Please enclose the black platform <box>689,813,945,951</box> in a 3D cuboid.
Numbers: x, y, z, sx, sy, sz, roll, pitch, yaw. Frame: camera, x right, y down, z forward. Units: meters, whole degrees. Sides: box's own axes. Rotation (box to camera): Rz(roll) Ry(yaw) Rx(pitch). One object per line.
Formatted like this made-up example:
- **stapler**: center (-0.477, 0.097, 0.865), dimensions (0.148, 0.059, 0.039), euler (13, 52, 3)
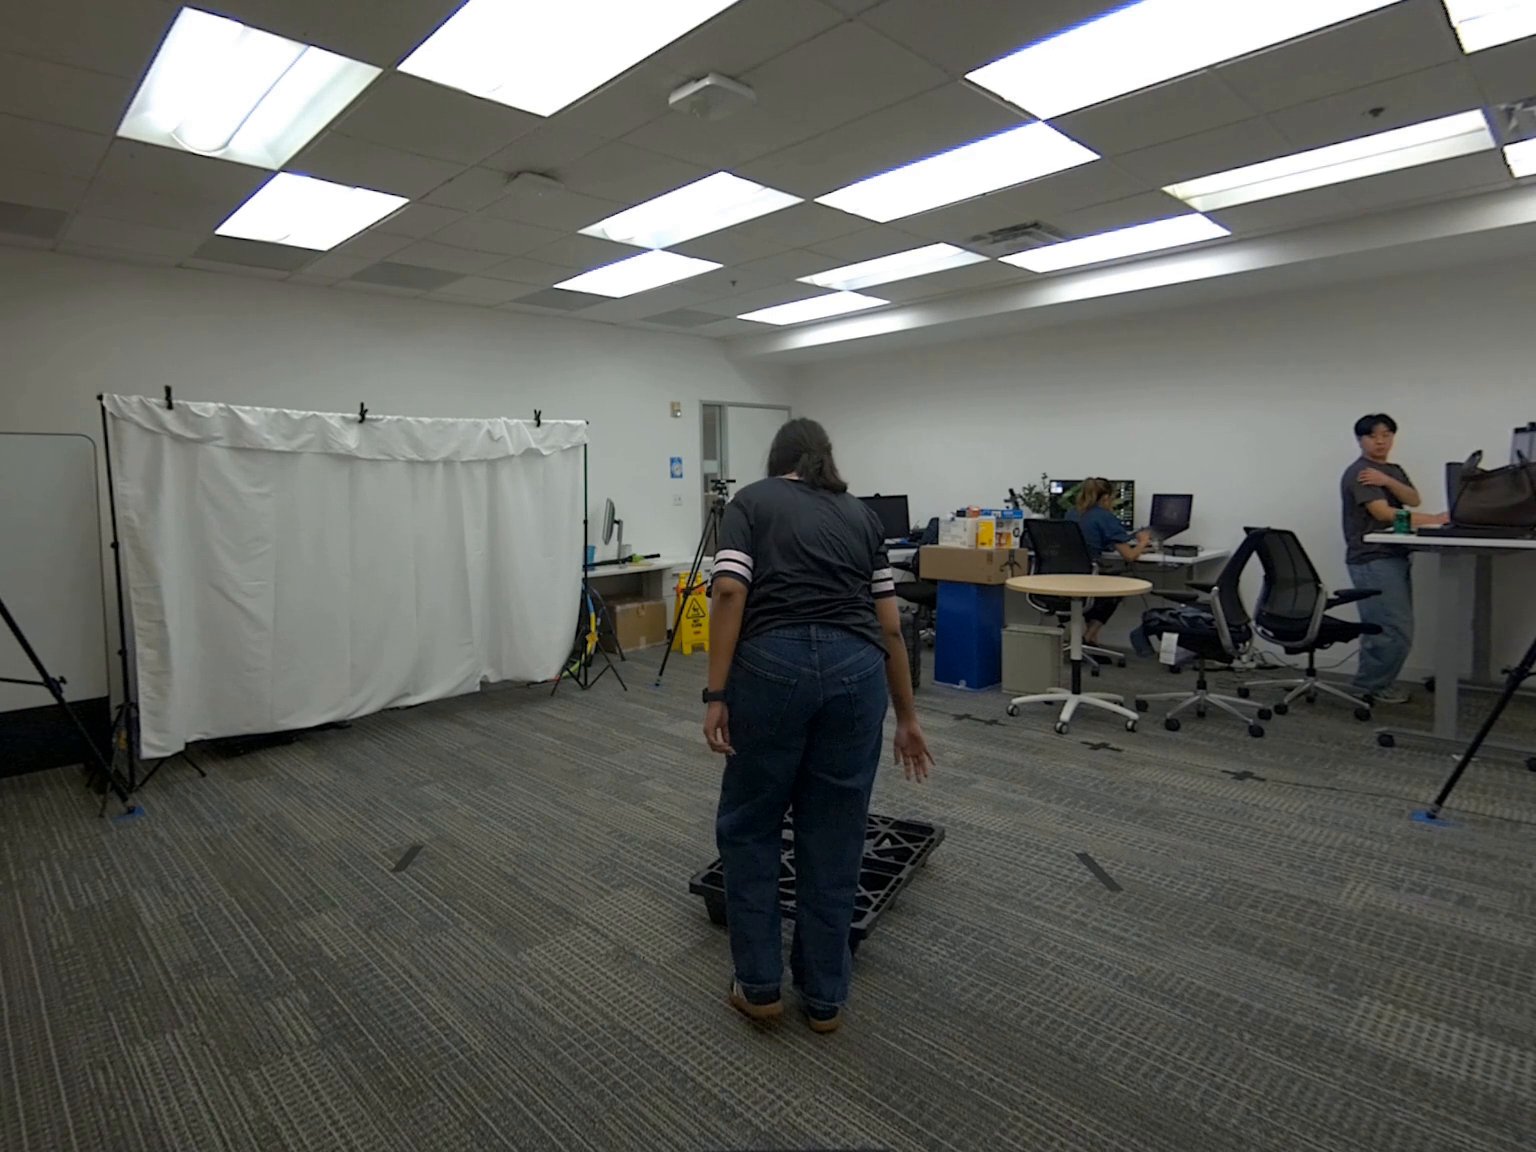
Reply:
- **black platform**: center (0.199, 1.000, 2.893), dimensions (0.621, 0.142, 0.789), euler (3, 8, 29)
